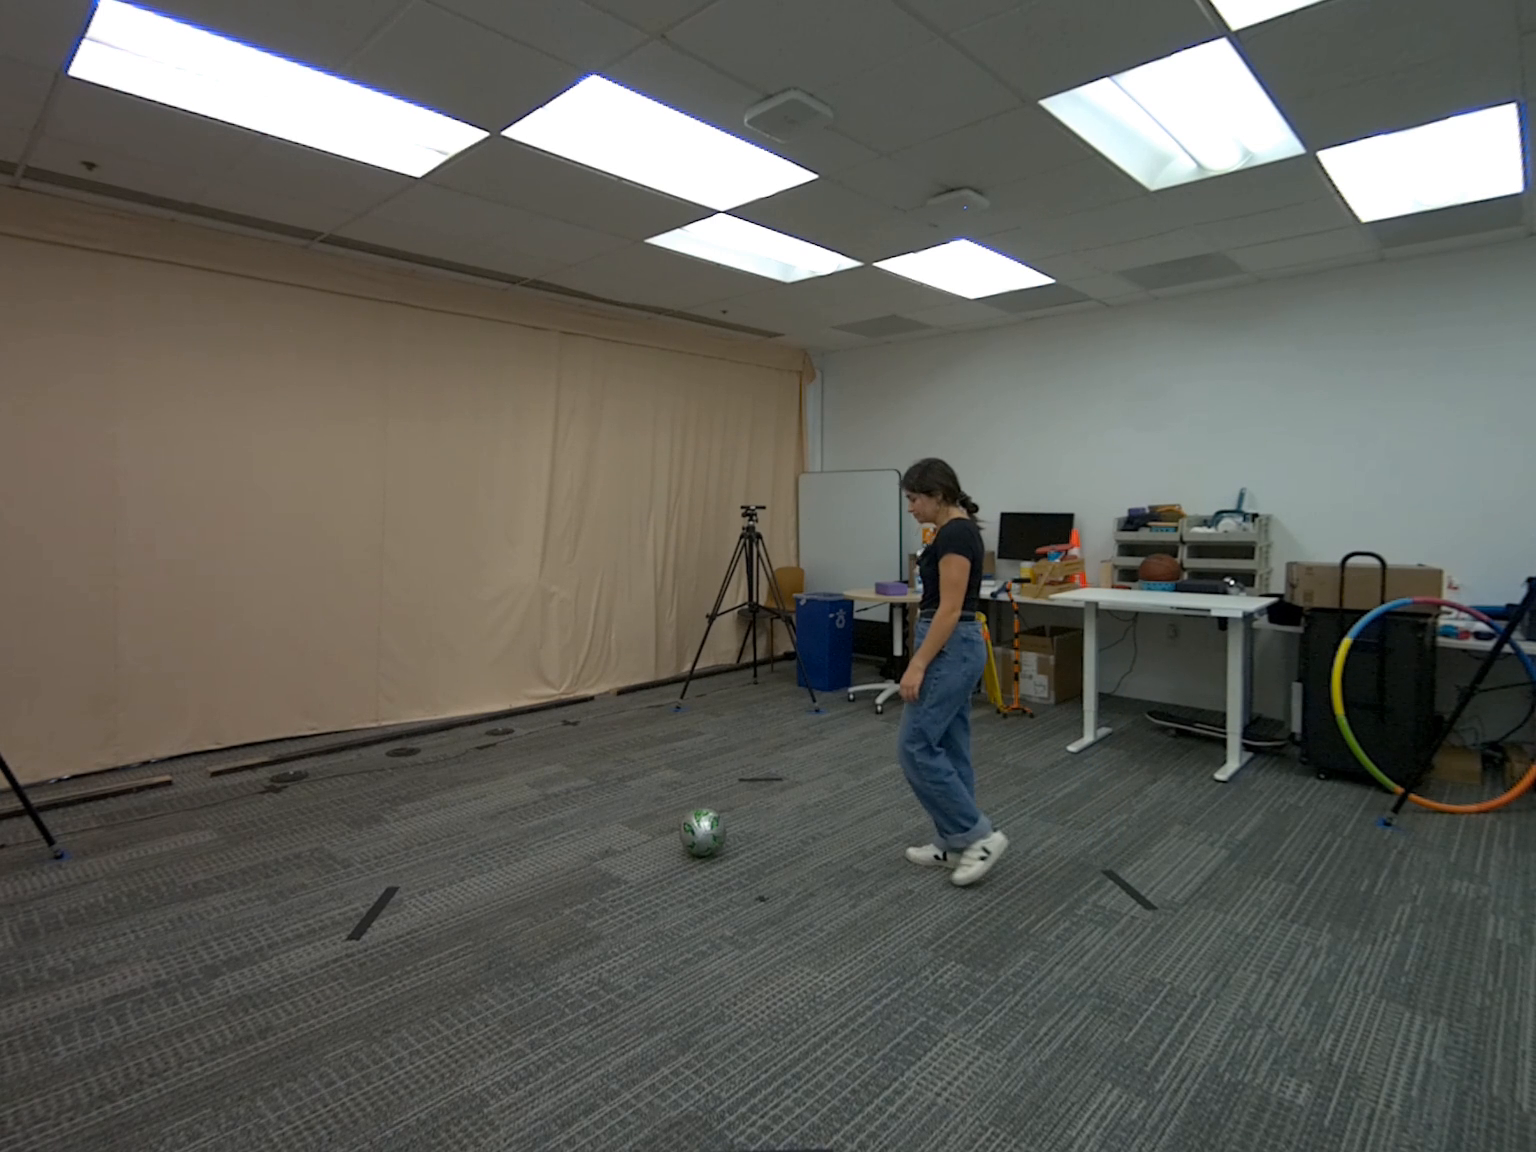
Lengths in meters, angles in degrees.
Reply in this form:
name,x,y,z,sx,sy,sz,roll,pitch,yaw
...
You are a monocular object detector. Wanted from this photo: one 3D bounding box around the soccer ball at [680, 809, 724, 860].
name,x,y,z,sx,sy,sz,roll,pitch,yaw
soccer ball,-0.252,1.027,3.360,0.187,0.187,0.188,0,4,-2
